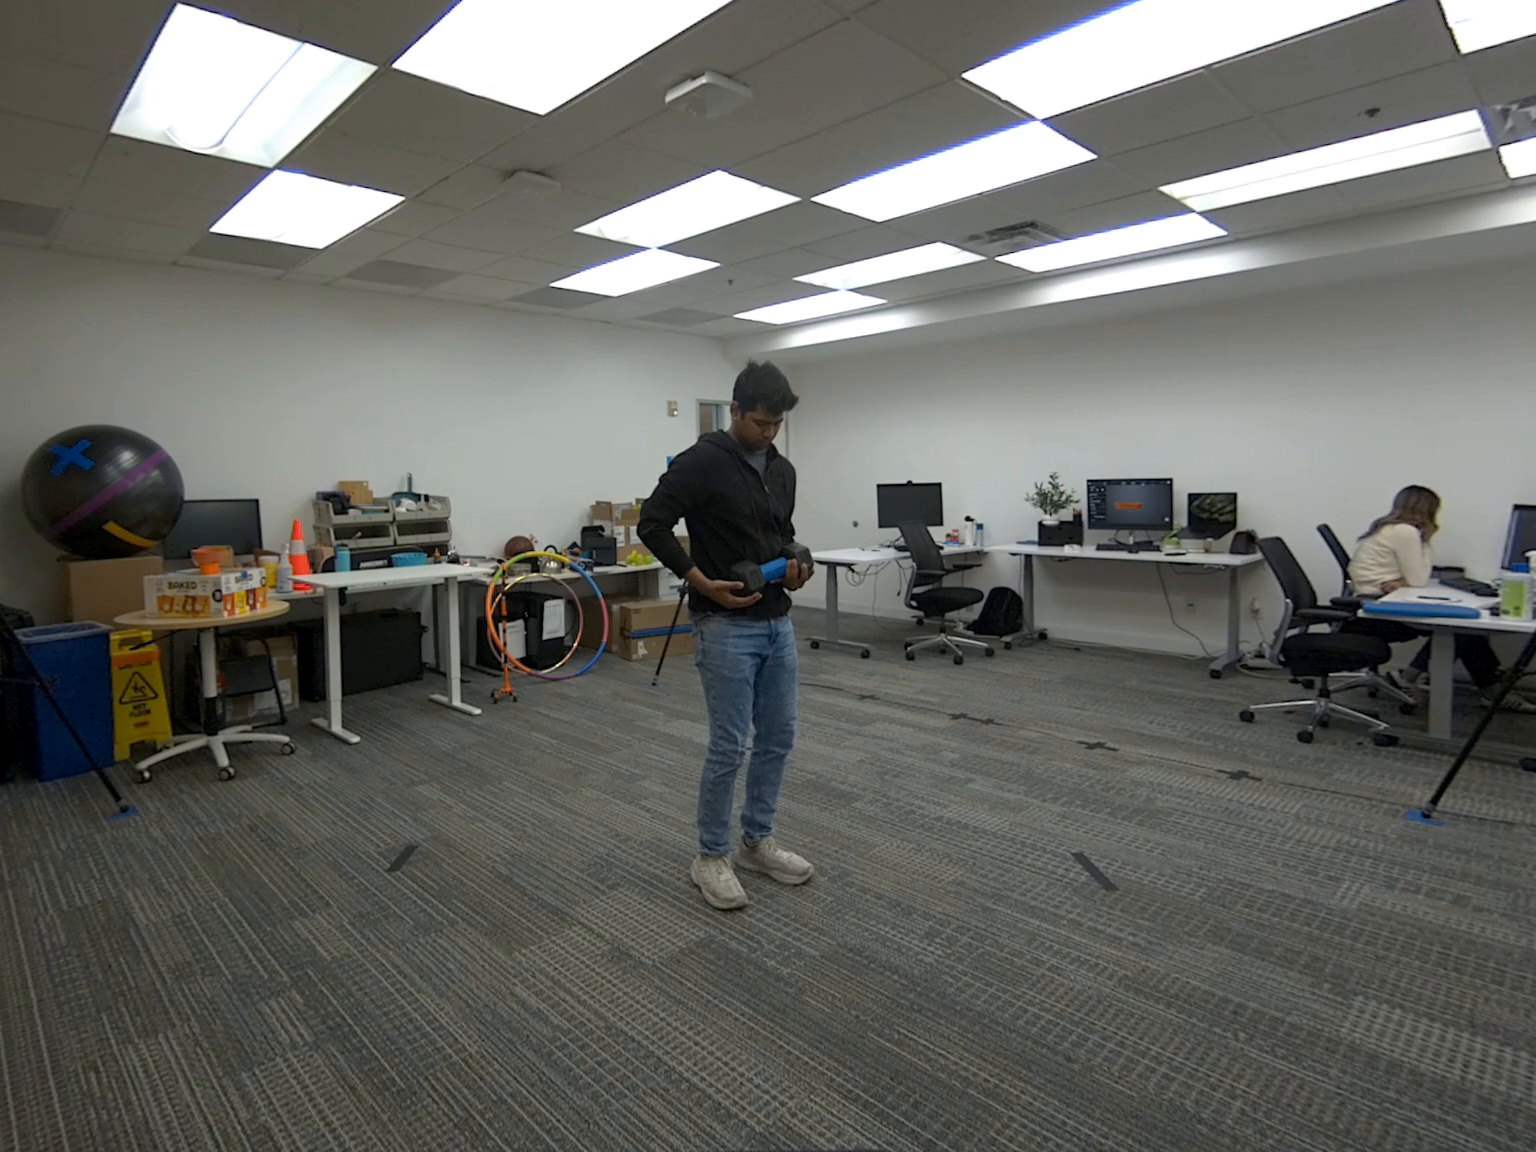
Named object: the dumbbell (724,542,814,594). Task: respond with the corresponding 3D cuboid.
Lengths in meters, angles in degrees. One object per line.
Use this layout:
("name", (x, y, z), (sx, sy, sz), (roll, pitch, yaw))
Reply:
("dumbbell", (0.000, -0.015, 2.797), (0.289, 0.123, 0.110), (-21, -2, -33))
